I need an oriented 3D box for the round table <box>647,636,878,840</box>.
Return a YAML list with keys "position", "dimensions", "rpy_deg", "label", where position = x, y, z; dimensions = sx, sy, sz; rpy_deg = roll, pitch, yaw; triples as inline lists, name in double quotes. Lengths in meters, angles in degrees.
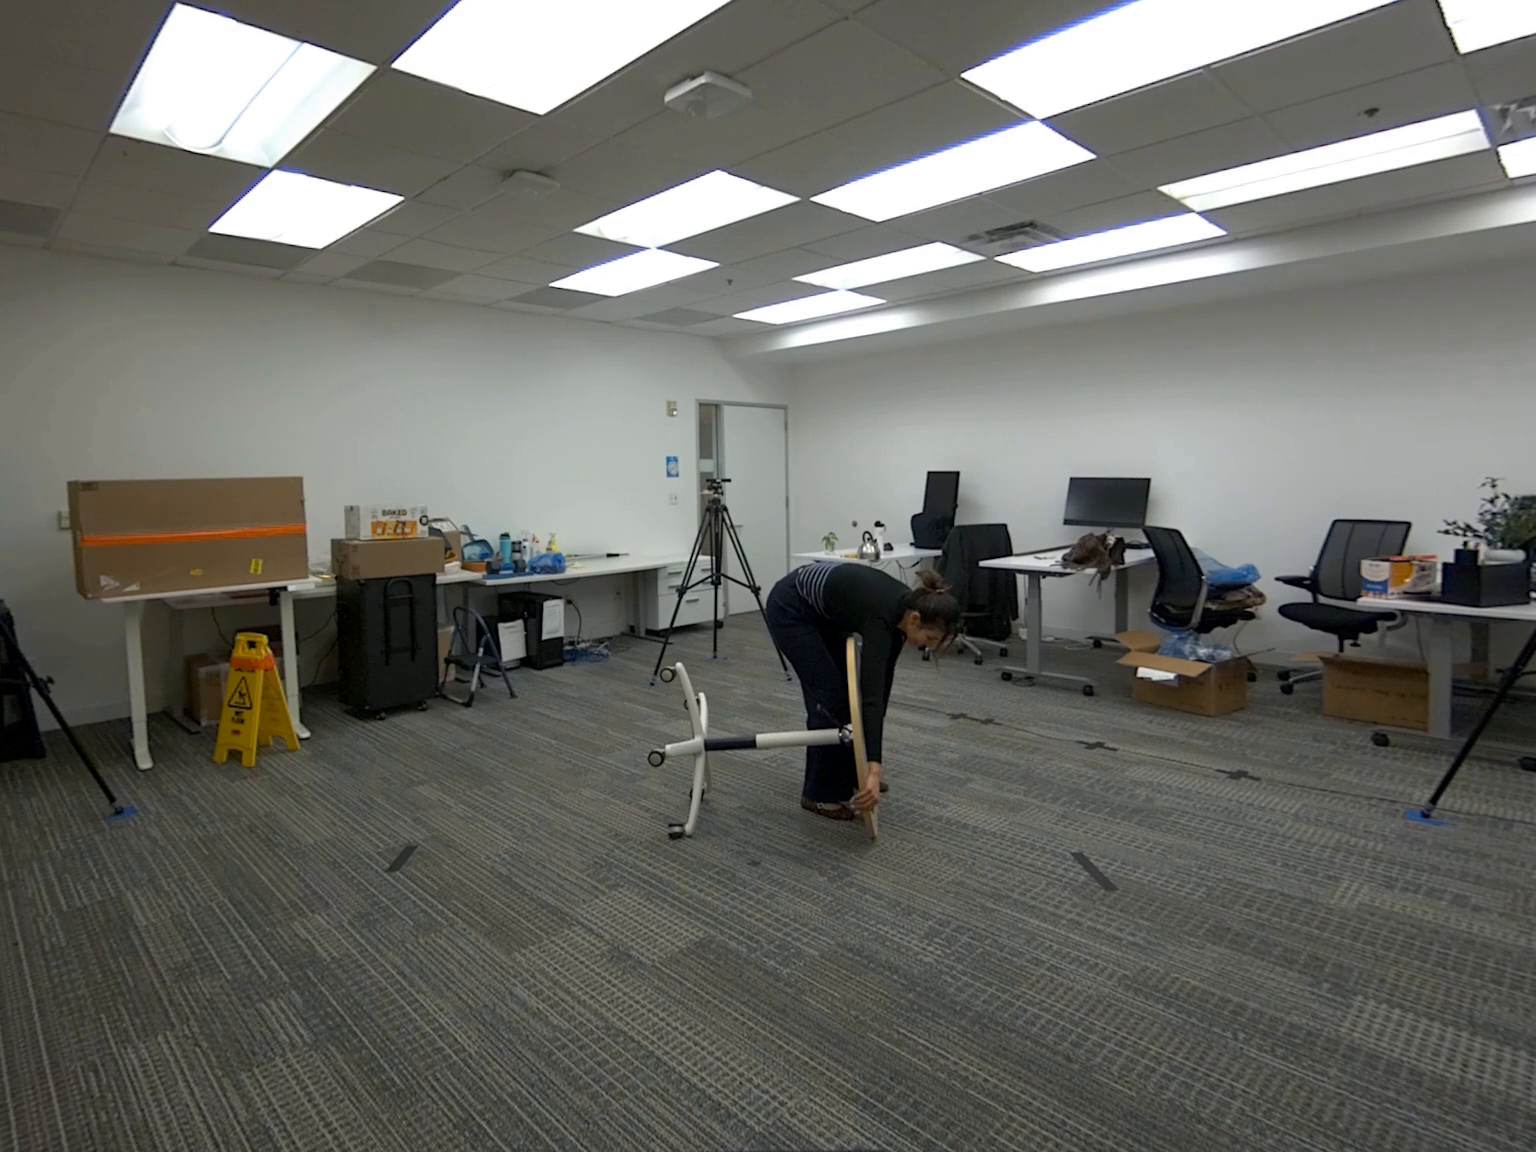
- position: [-0.004, 0.669, 3.449]
  dimensions: [0.801, 0.762, 0.760]
  rpy_deg: [-7, 4, 9]
  label: "round table"
